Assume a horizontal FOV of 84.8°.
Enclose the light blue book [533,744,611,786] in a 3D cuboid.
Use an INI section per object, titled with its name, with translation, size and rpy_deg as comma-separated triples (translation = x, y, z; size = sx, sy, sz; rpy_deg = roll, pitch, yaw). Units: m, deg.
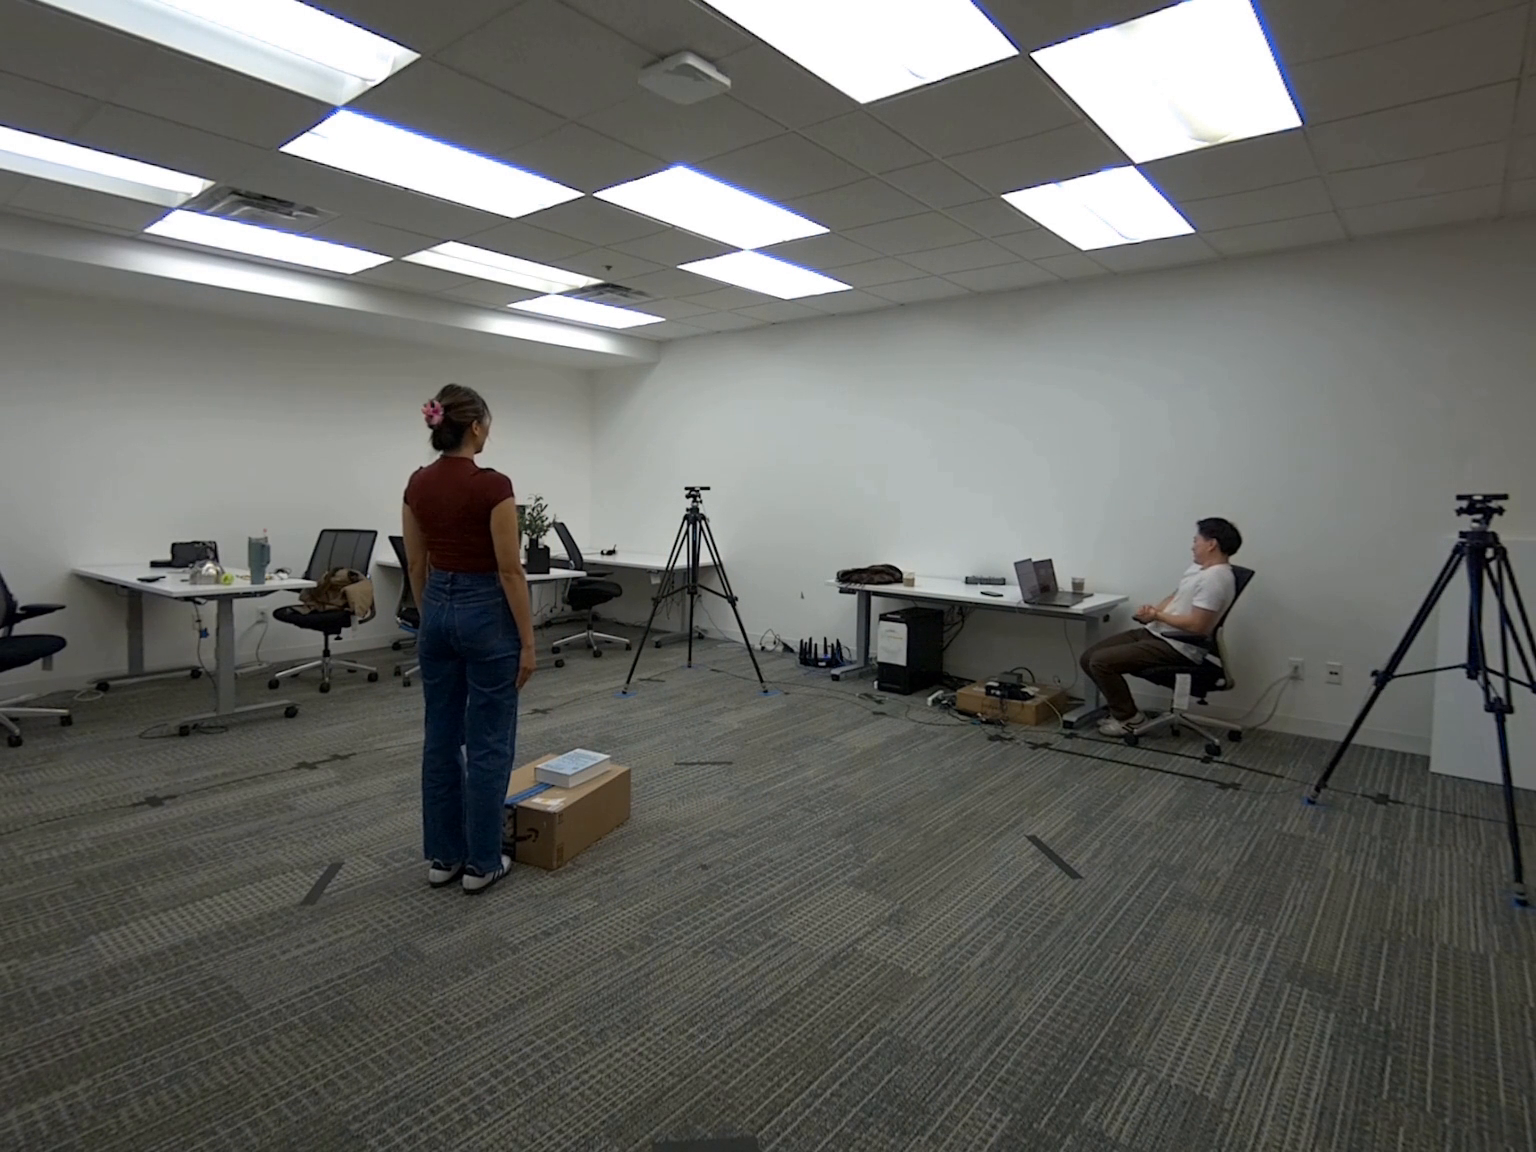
[light blue book]
translation = -0.809, 0.776, 3.477
size = 0.197, 0.059, 0.255
rpy_deg = 4, 8, 29
